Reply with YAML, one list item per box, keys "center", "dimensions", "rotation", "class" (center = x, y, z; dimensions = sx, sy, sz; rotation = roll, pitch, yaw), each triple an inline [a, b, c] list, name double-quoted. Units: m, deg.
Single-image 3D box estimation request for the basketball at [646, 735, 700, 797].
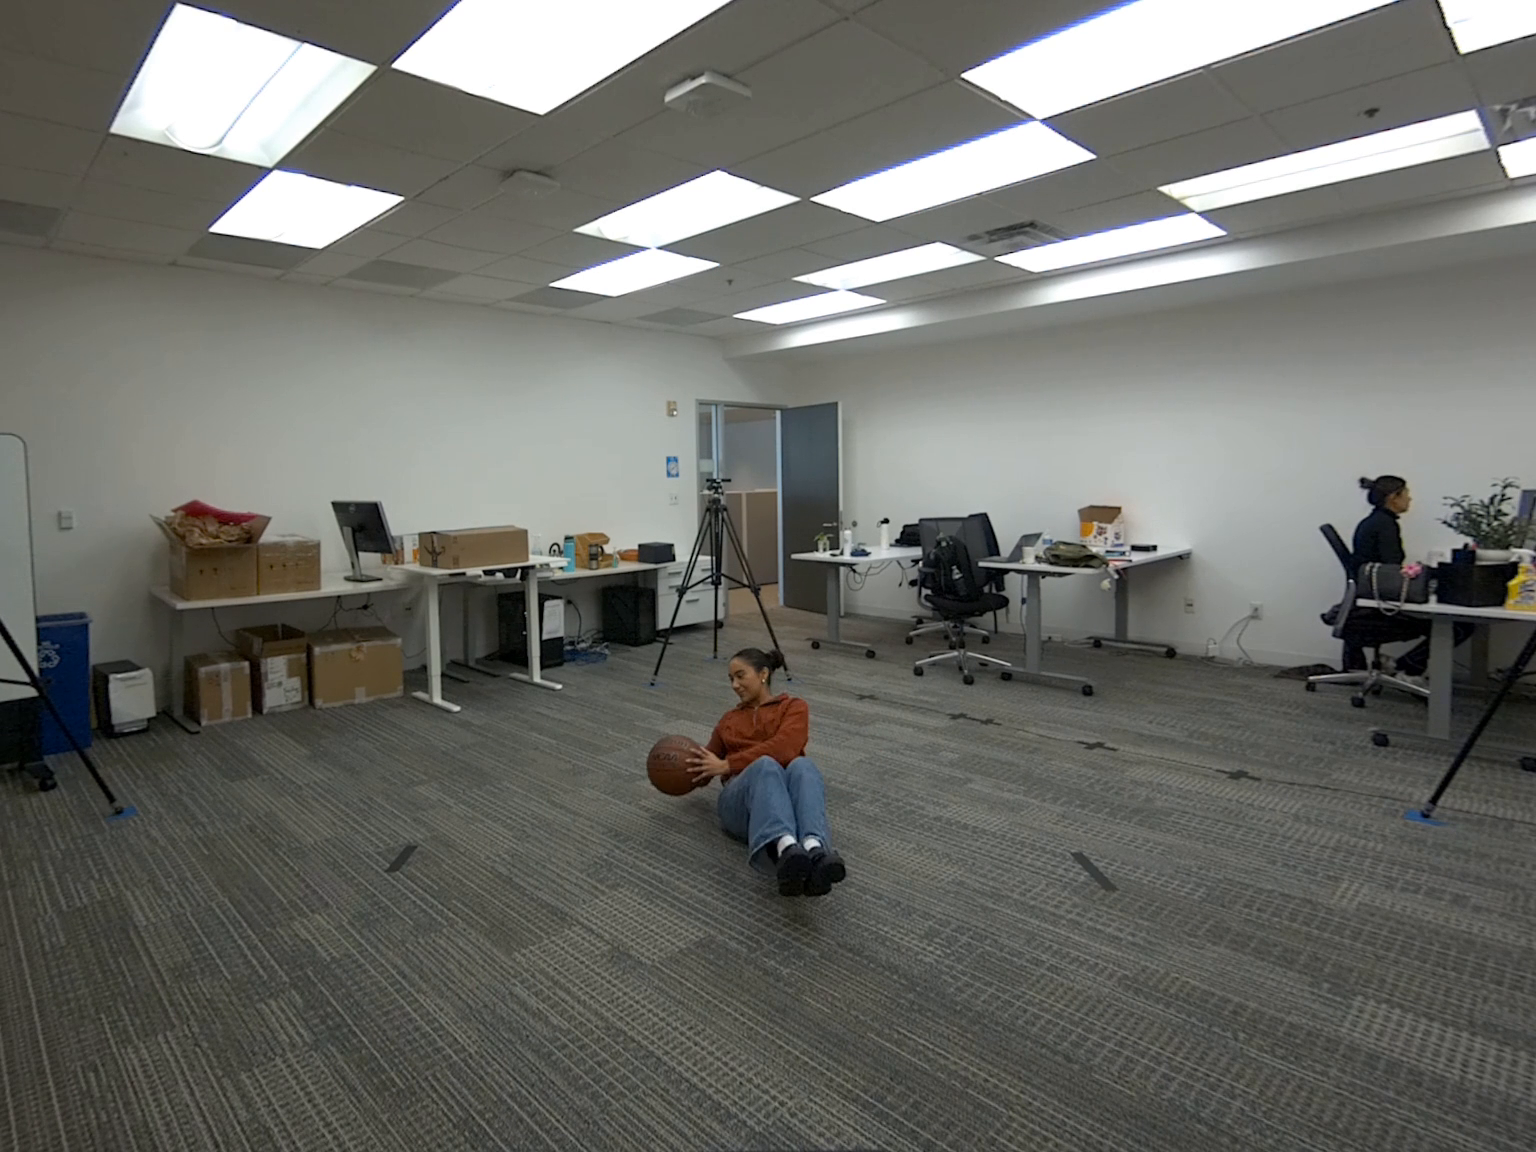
- center: [-0.357, 0.749, 3.402]
  dimensions: [0.236, 0.235, 0.237]
  rotation: [-1, 5, -2]
  class: "basketball"
